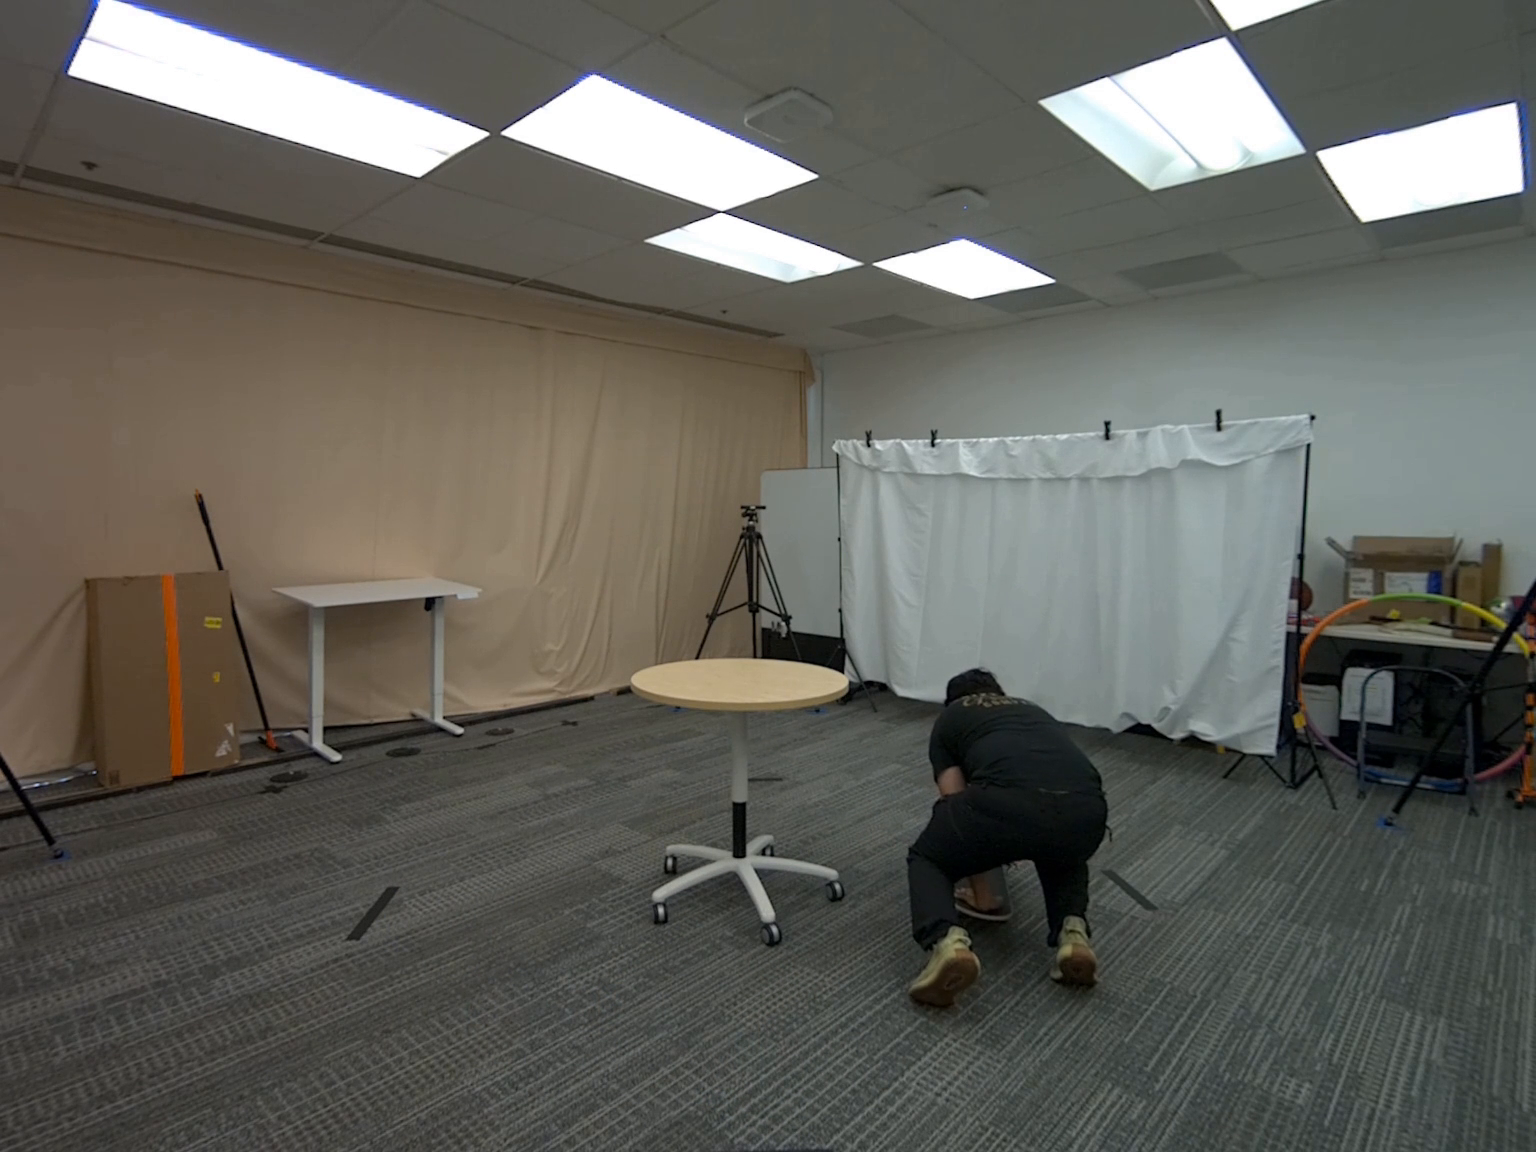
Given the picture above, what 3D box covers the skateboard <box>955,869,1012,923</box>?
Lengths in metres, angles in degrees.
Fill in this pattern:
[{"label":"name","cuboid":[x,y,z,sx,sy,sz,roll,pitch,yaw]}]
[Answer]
[{"label":"skateboard","cuboid":[0.757,1.082,3.025,0.196,0.110,0.776,4,6,11]}]
